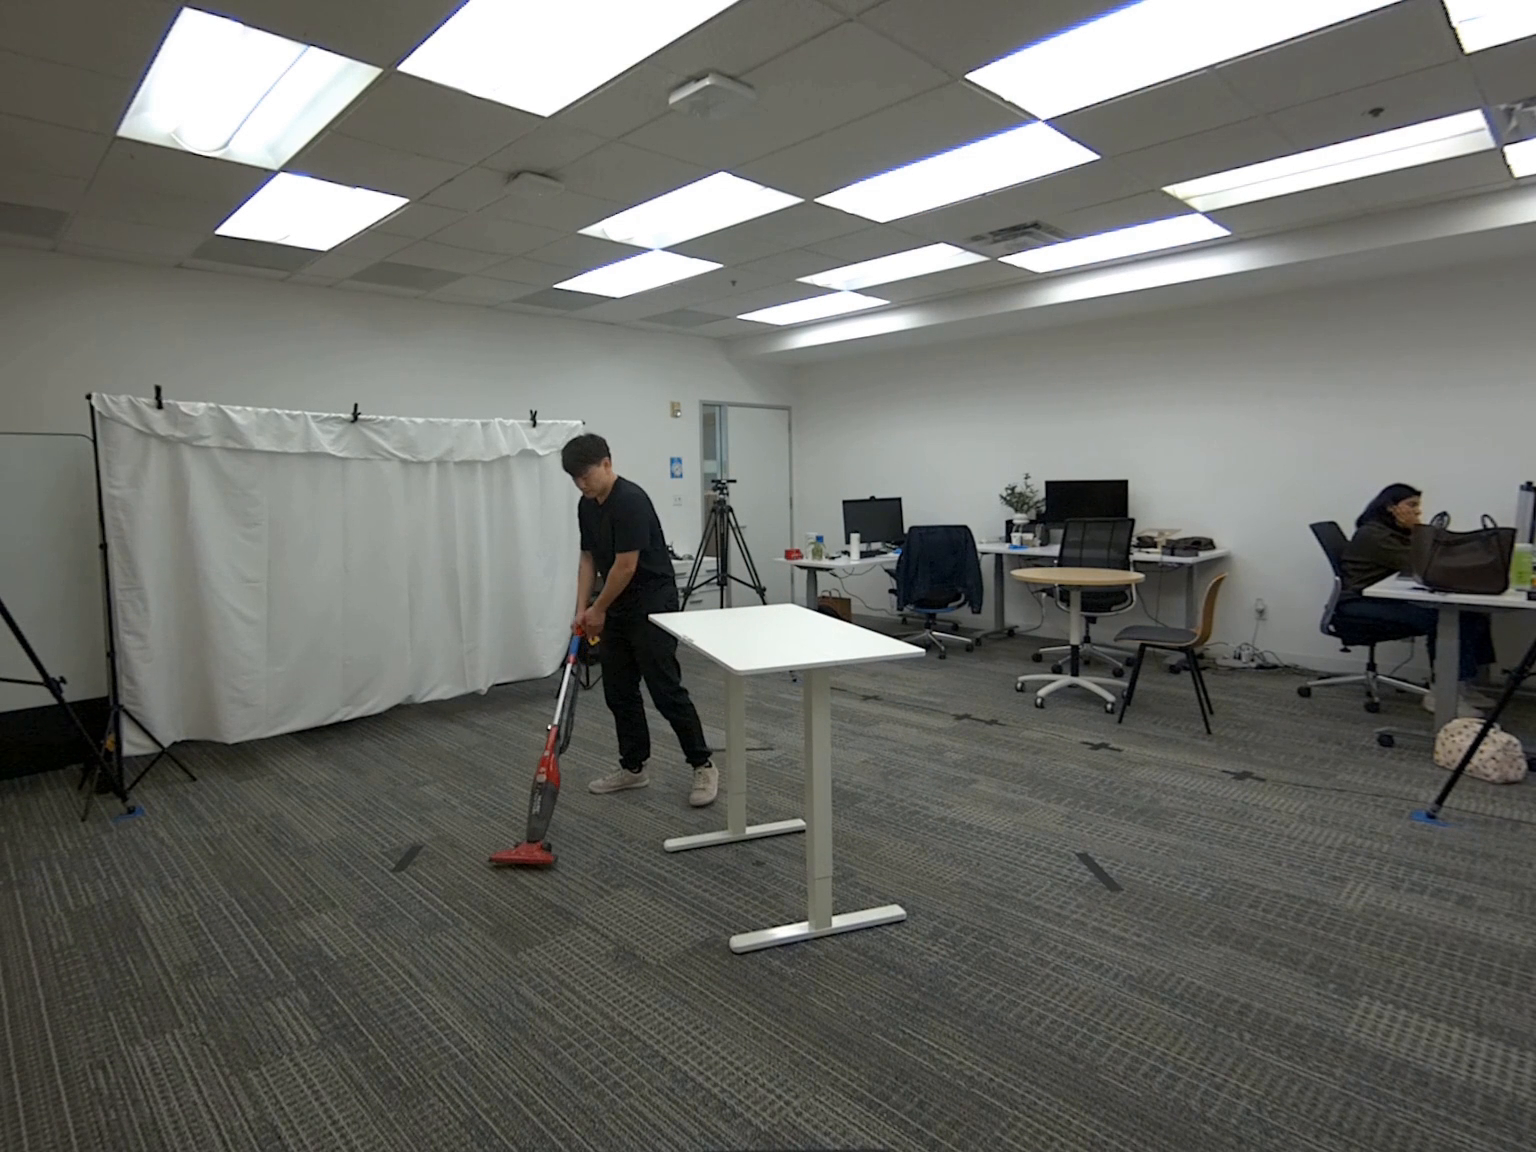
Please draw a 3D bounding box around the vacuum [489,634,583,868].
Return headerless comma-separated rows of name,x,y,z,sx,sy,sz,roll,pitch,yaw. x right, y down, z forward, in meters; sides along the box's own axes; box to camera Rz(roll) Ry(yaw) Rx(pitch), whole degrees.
vacuum,-0.860,0.638,3.504,0.255,1.074,0.139,-2,-42,8
